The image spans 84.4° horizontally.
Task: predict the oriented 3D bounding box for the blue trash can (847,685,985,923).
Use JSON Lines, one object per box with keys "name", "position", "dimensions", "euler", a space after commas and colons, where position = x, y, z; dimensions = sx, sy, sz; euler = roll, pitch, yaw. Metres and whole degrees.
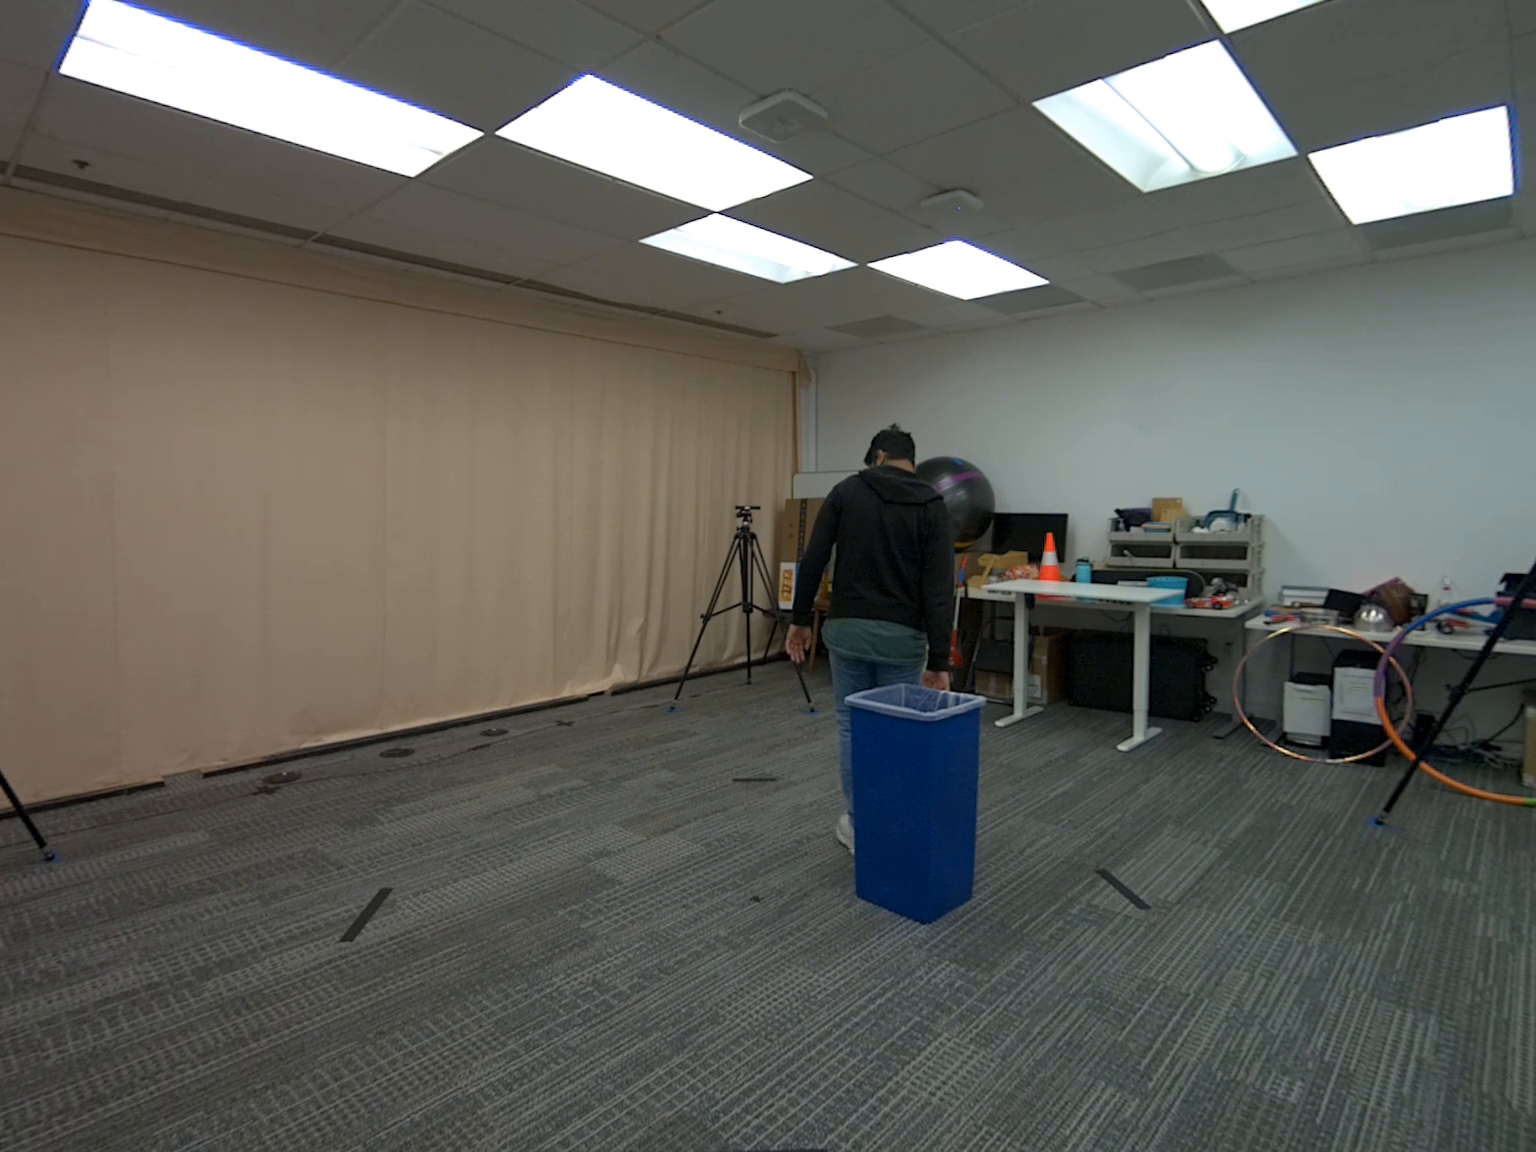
{"name": "blue trash can", "position": [0.512, 0.779, 2.980], "dimensions": [0.386, 0.712, 0.366], "euler": [3, 5, 43]}
